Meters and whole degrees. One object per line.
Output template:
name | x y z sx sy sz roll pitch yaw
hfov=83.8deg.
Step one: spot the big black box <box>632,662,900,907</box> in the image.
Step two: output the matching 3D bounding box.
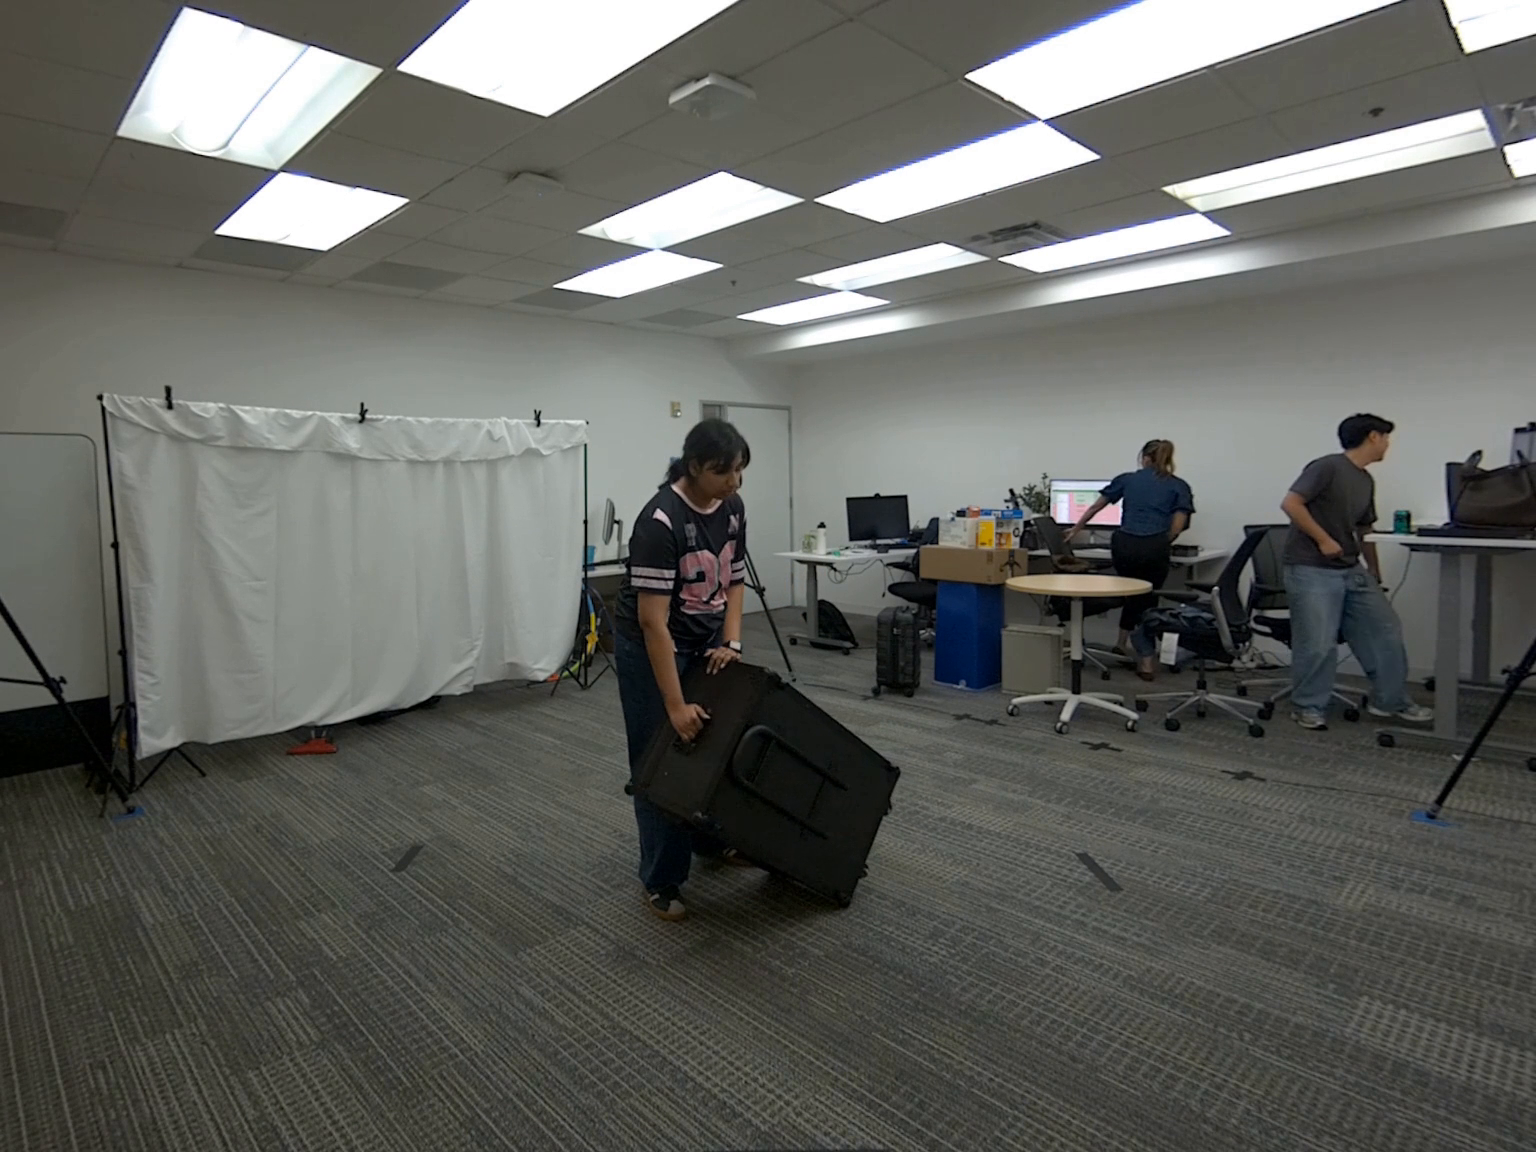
big black box | 0.043 0.677 2.786 0.397 0.527 0.836 3 -31 46
